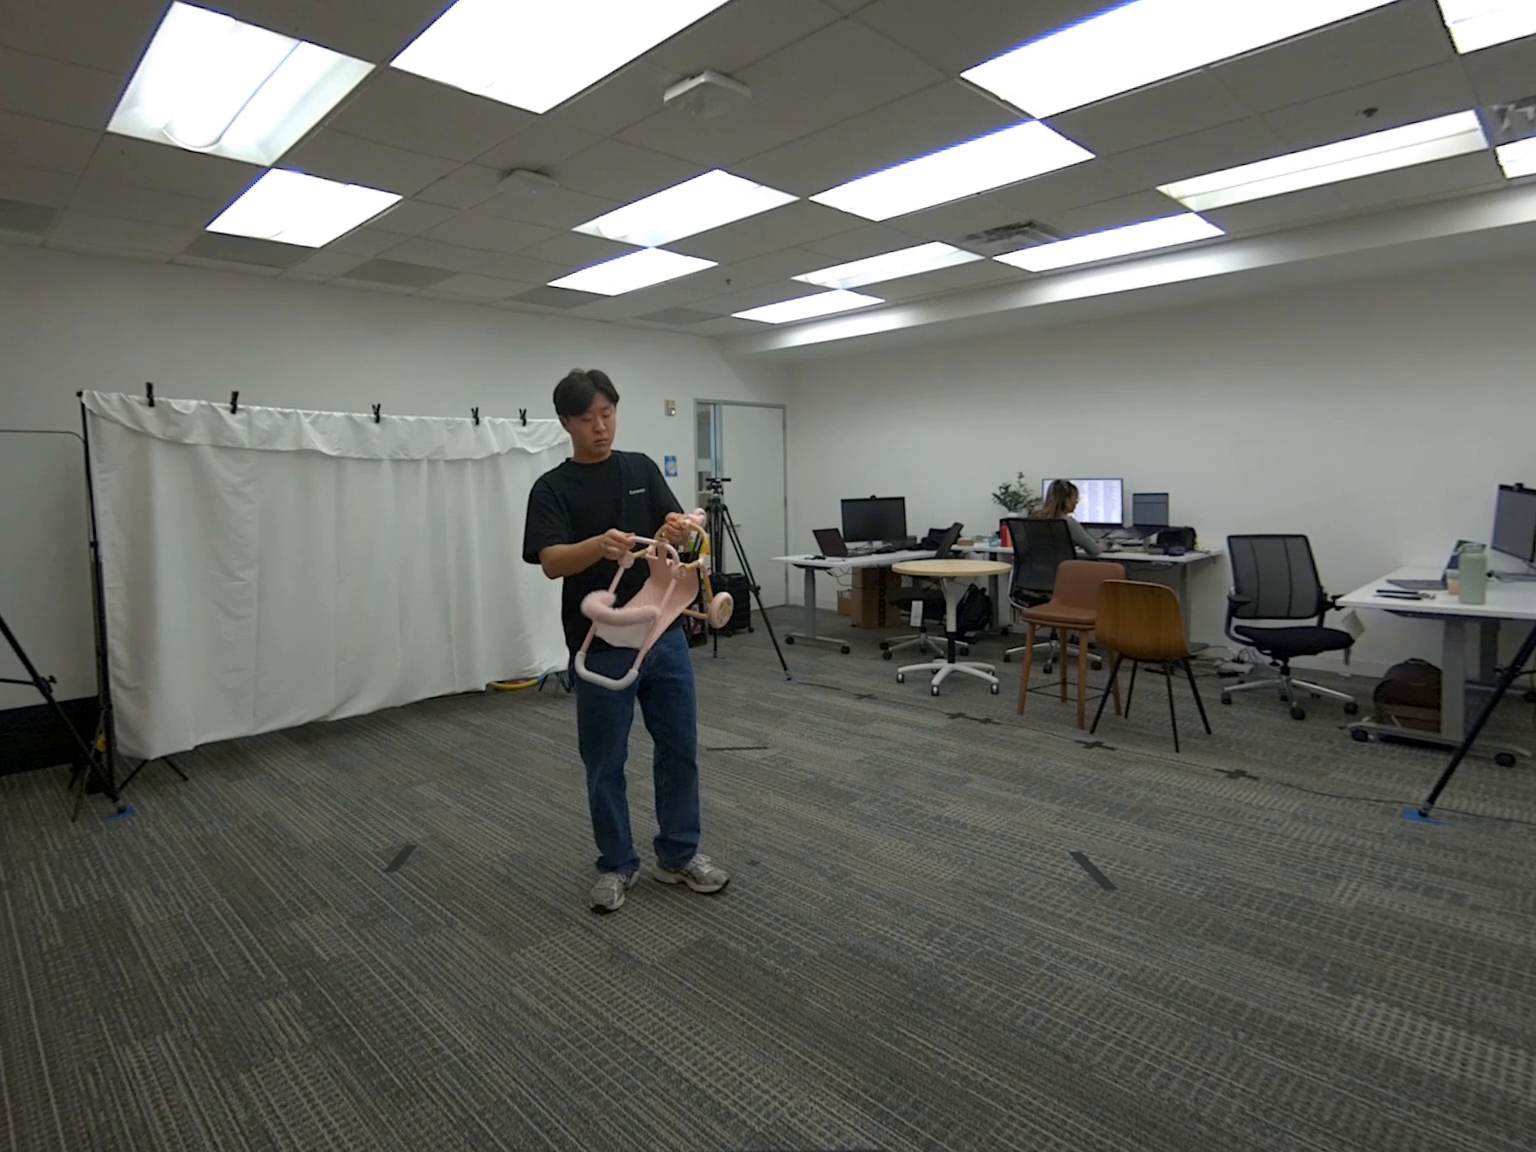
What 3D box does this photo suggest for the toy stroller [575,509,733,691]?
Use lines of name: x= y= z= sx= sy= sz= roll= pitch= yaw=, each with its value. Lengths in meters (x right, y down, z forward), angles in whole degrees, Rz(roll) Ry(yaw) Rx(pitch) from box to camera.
toy stroller: x=-0.318 y=0.044 z=2.432 sx=0.290 sy=0.334 sz=0.530 roll=17 pitch=32 yaw=28
